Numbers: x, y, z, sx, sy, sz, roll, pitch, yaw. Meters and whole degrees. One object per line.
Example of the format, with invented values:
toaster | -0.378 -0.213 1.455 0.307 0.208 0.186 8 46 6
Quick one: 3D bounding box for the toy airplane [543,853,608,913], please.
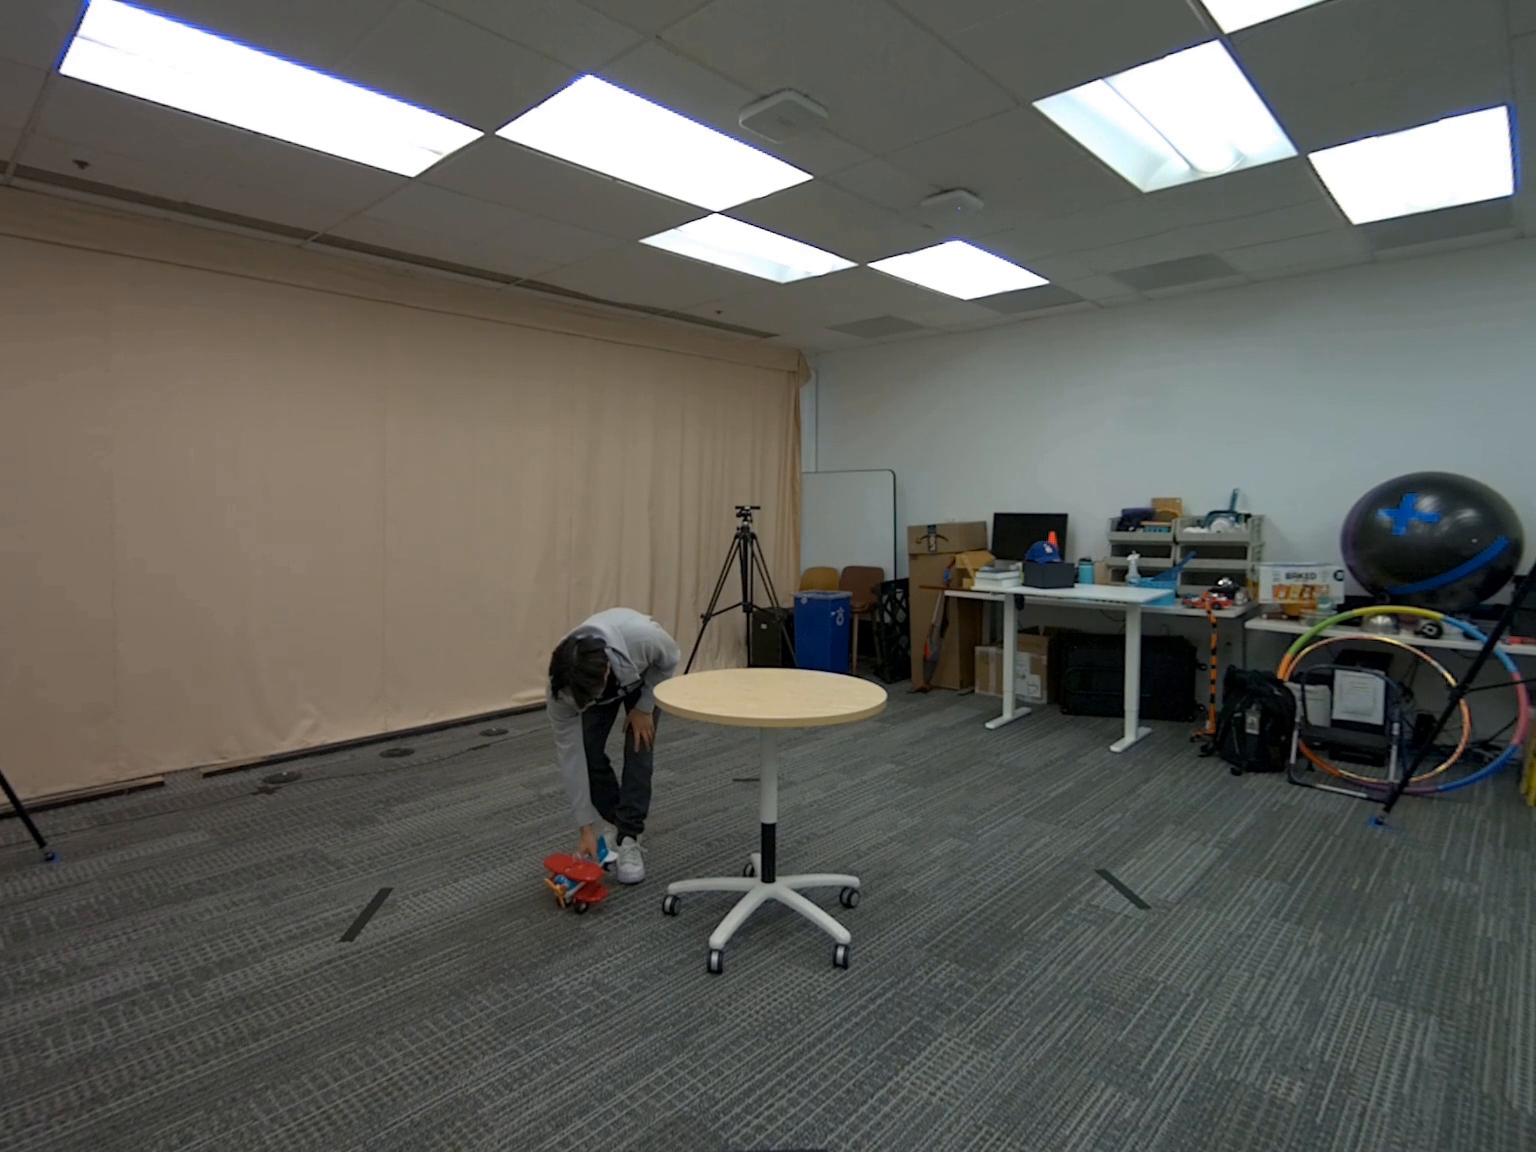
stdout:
toy airplane | -0.665 1.044 2.968 0.253 0.153 0.262 -12 27 9
